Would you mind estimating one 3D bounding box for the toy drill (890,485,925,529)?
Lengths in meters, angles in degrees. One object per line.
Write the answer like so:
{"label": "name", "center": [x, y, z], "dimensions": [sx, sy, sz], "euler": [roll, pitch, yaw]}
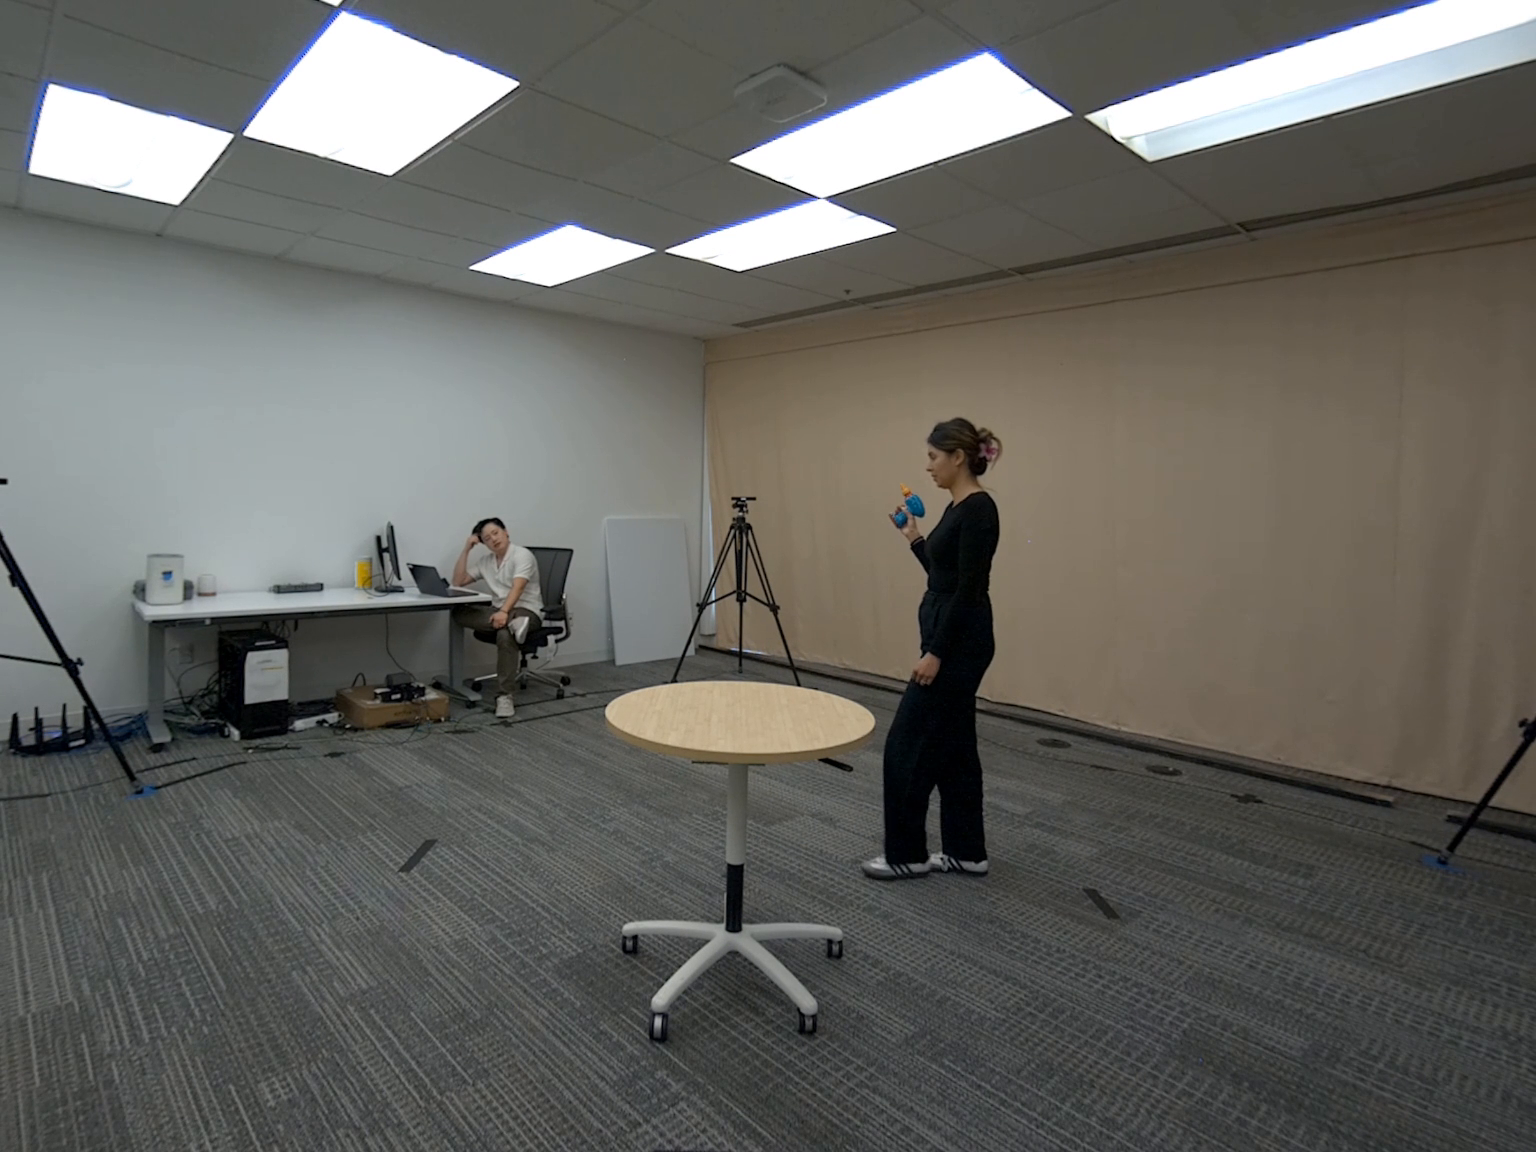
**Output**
{"label": "toy drill", "center": [0.552, -0.295, 3.467], "dimensions": [0.146, 0.172, 0.060], "euler": [-30, -14, 4]}
